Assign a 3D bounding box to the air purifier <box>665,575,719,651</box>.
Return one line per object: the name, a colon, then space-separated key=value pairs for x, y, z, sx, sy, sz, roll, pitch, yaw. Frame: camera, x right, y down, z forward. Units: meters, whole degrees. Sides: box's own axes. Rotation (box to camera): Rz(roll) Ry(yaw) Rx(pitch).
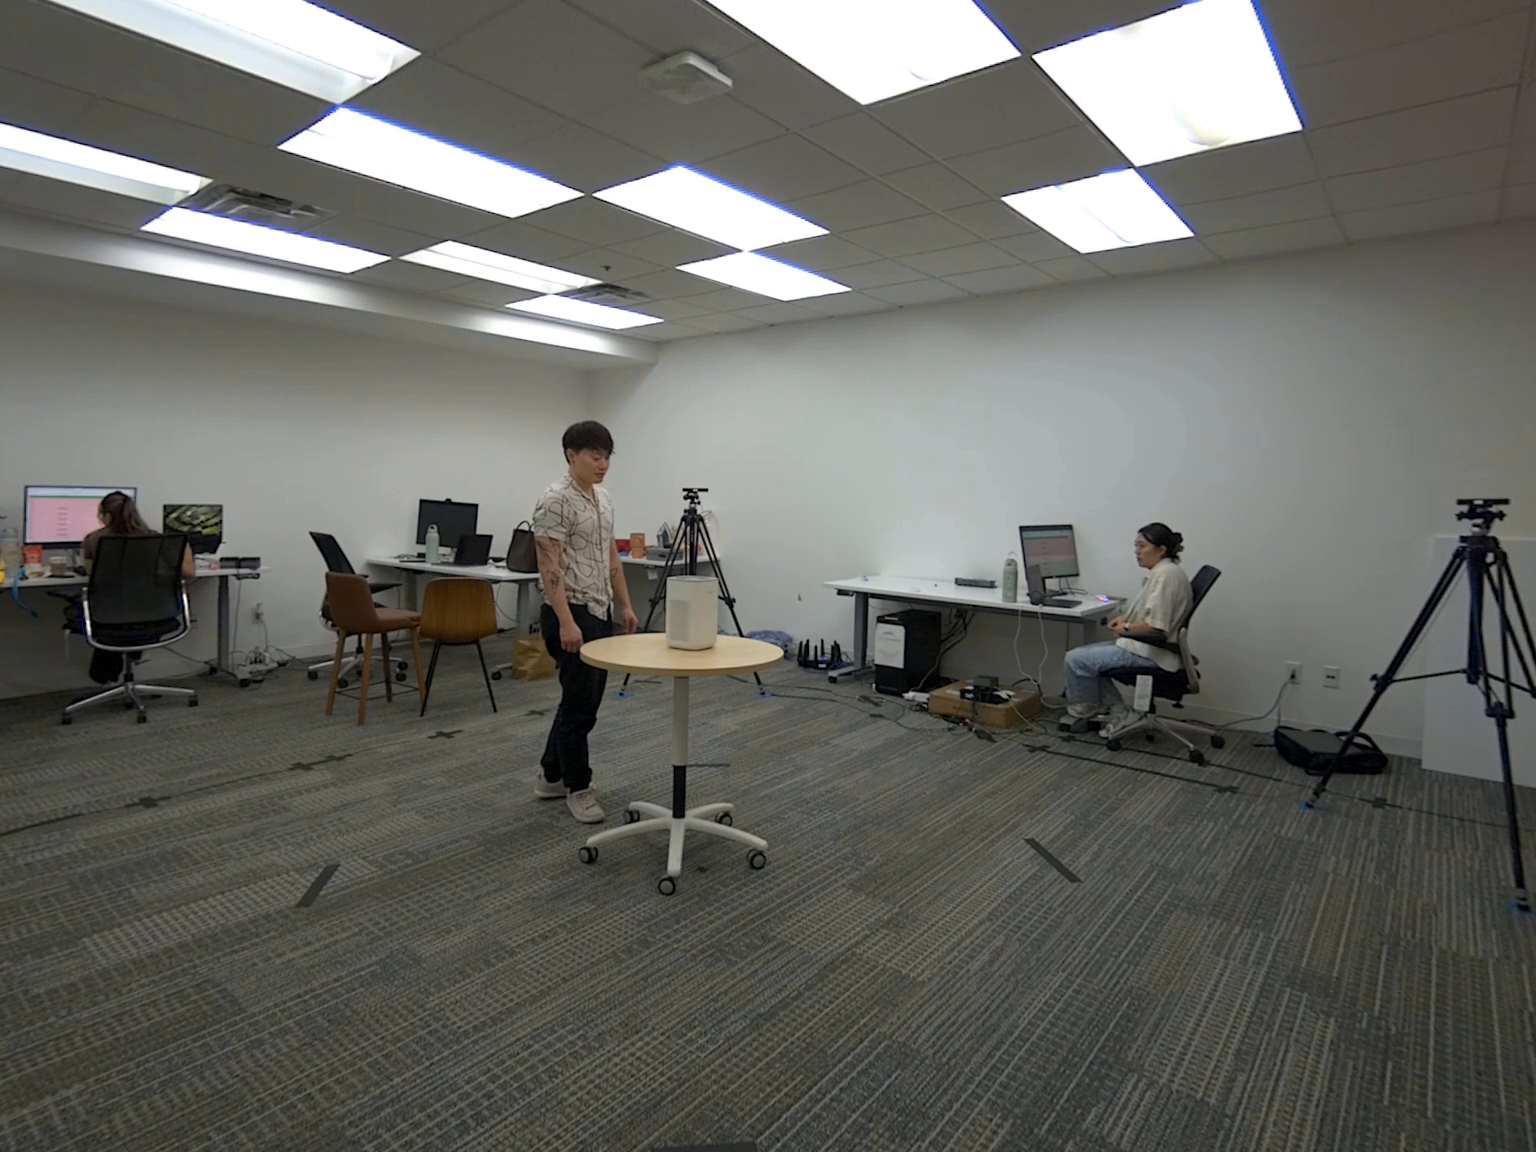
air purifier: x=-0.301 y=0.138 z=3.256 sx=0.177 sy=0.264 sz=0.166 roll=4 pitch=4 yaw=30
